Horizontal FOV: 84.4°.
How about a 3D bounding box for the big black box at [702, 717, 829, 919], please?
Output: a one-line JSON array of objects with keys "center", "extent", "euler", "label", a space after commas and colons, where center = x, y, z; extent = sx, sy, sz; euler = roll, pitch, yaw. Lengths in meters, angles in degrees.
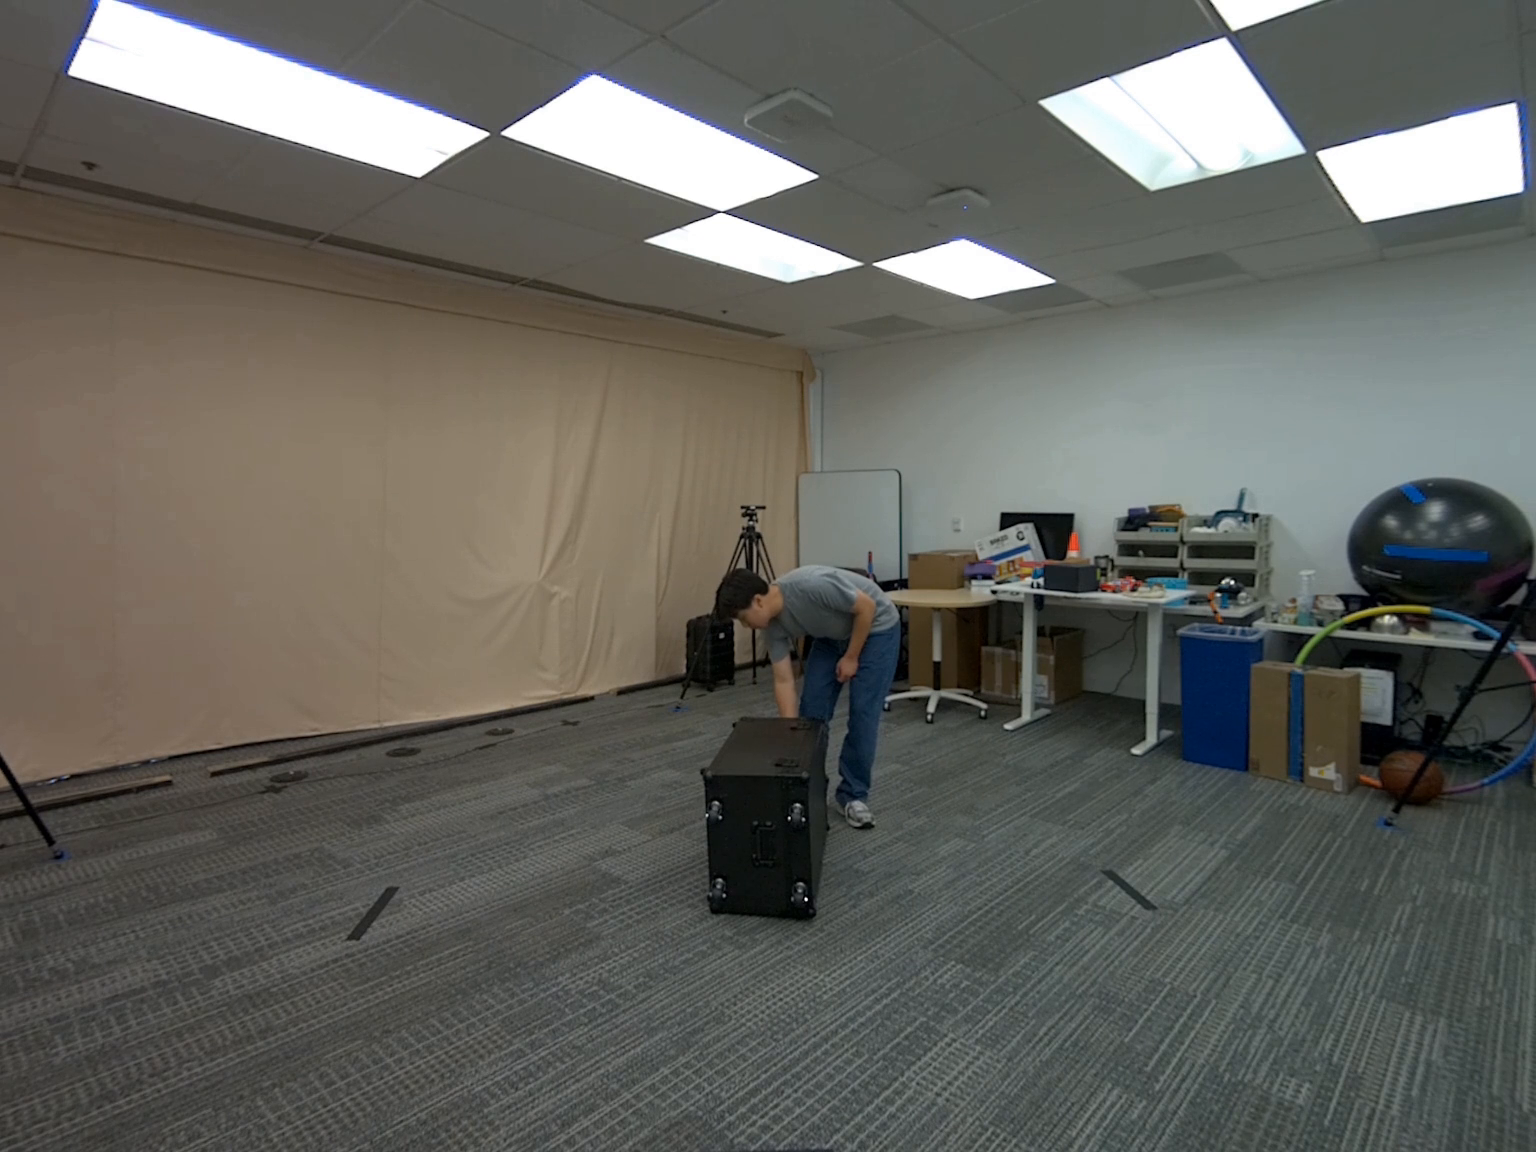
[{"center": [0.013, 0.869, 3.240], "extent": [0.401, 0.520, 0.854], "euler": [-1, 4, 9], "label": "big black box"}]
